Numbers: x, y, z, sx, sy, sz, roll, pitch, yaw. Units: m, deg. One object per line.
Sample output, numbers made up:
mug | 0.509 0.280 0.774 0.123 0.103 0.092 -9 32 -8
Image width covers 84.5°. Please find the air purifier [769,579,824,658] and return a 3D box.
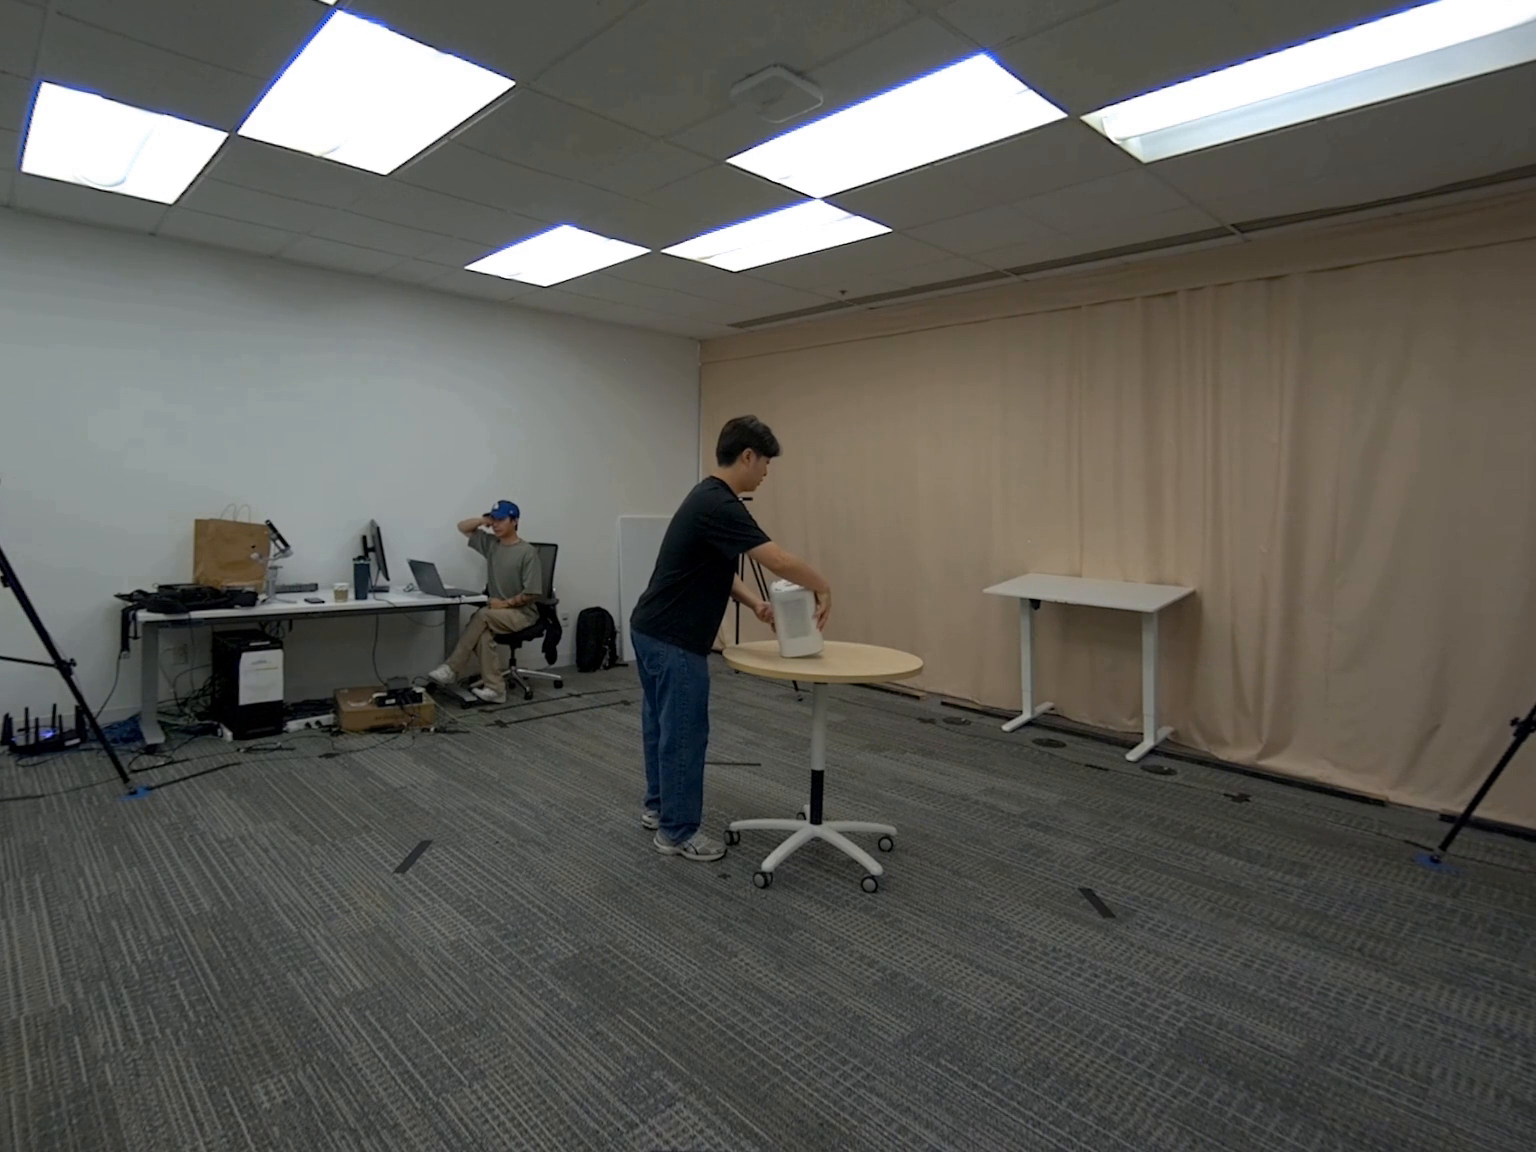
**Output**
air purifier | 0.093 0.149 3.197 0.172 0.262 0.172 -9 15 8
